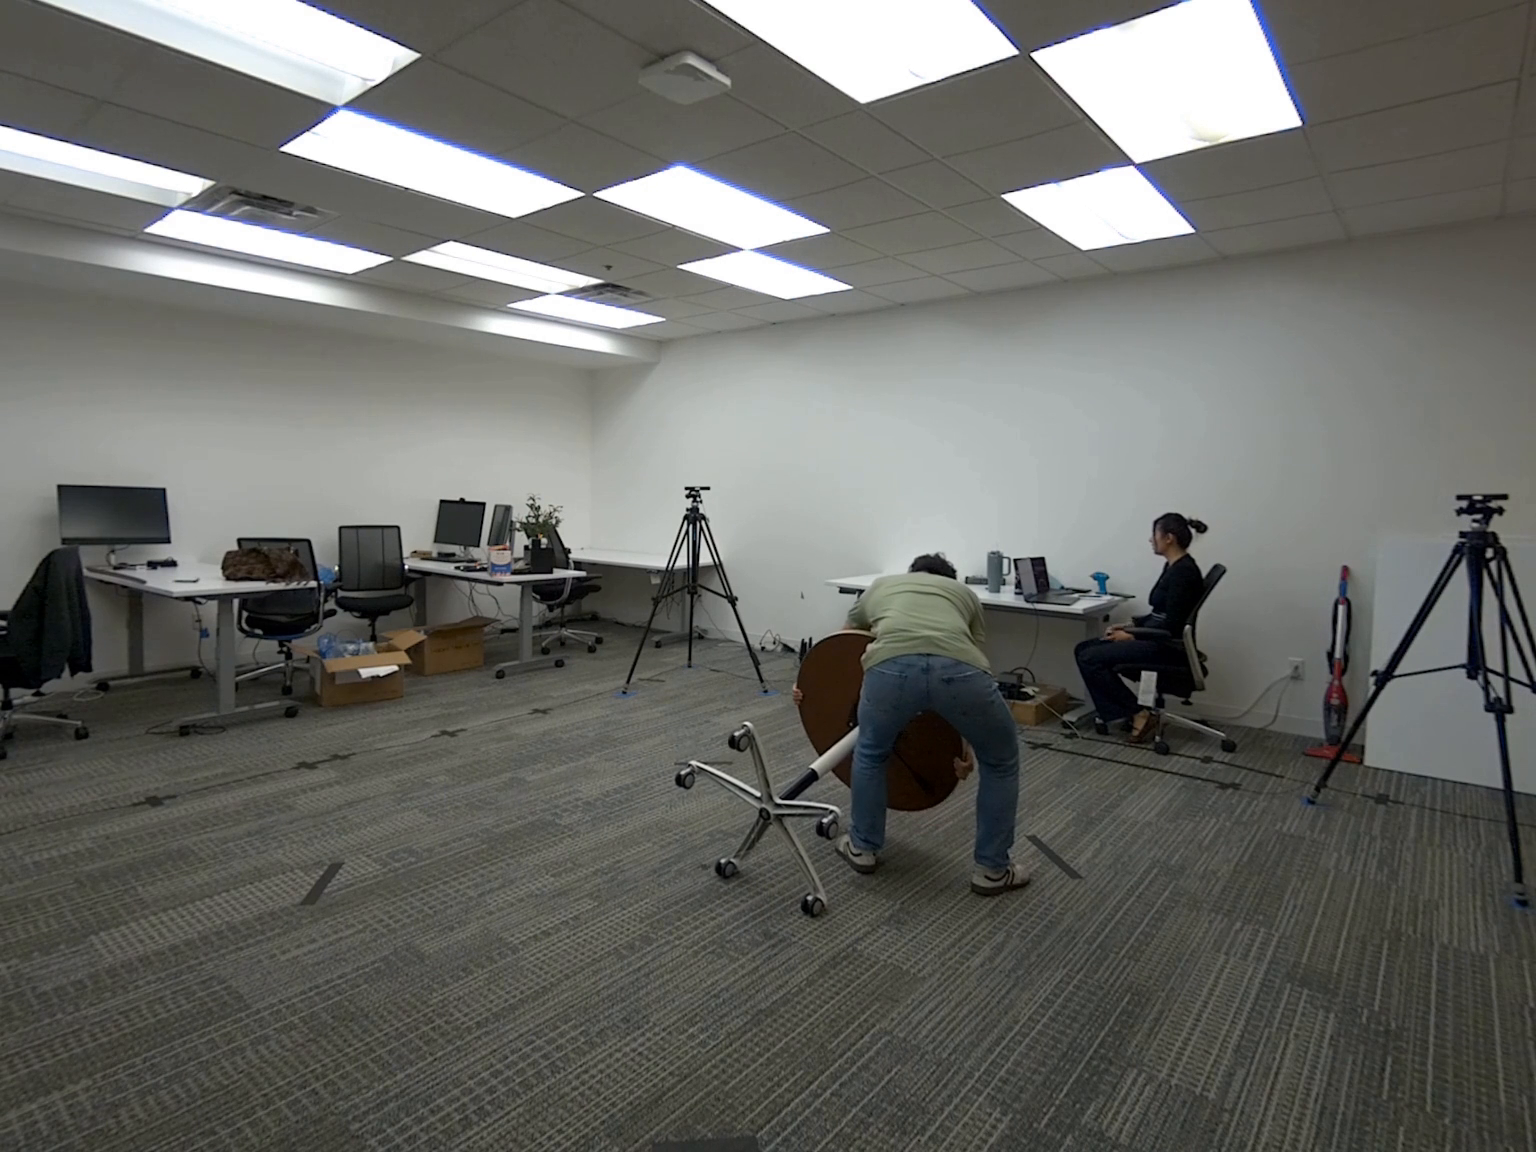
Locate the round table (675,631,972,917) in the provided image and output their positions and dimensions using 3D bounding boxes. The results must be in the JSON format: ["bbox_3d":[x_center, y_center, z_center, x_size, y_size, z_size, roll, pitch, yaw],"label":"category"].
[{"bbox_3d":[0.170,0.700,3.110,0.790,0.752,0.780,4,21,41],"label":"round table"}]
